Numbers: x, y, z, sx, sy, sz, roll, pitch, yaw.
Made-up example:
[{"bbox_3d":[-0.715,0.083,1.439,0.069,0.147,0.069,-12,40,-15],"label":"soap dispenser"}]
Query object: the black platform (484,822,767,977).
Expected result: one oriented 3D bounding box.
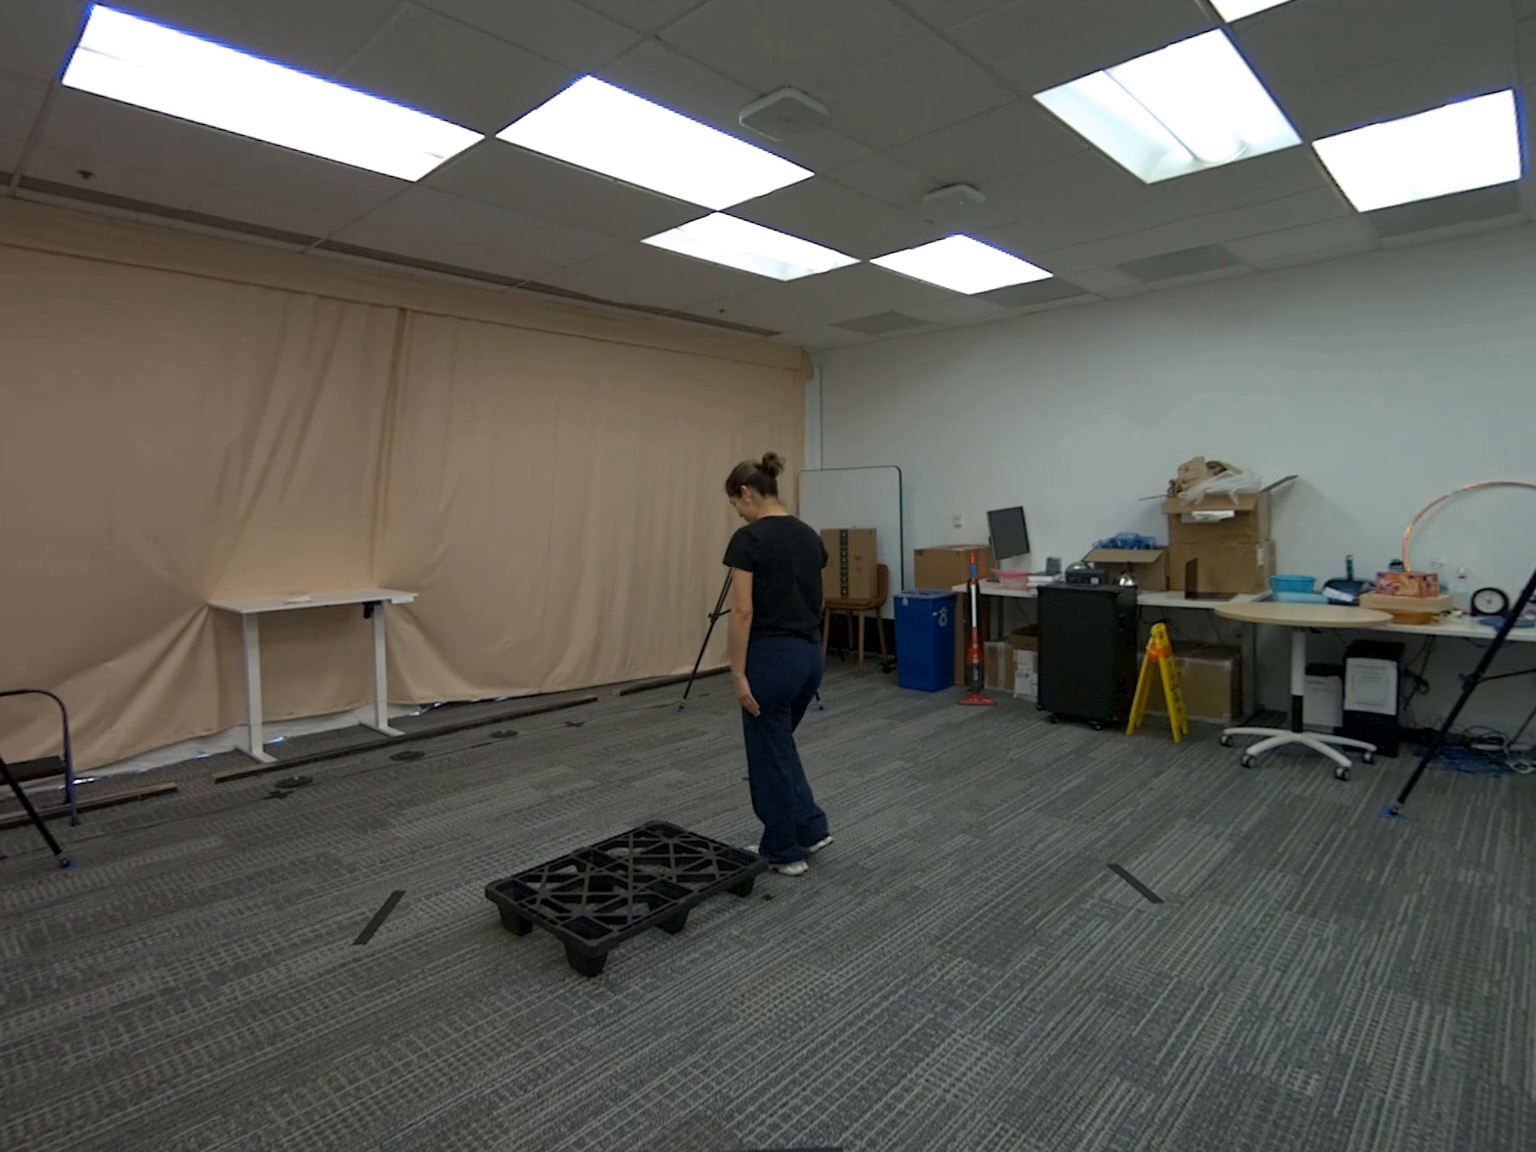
[{"bbox_3d":[-0.455,1.090,2.911,0.625,0.143,0.781,4,7,41],"label":"black platform"}]
